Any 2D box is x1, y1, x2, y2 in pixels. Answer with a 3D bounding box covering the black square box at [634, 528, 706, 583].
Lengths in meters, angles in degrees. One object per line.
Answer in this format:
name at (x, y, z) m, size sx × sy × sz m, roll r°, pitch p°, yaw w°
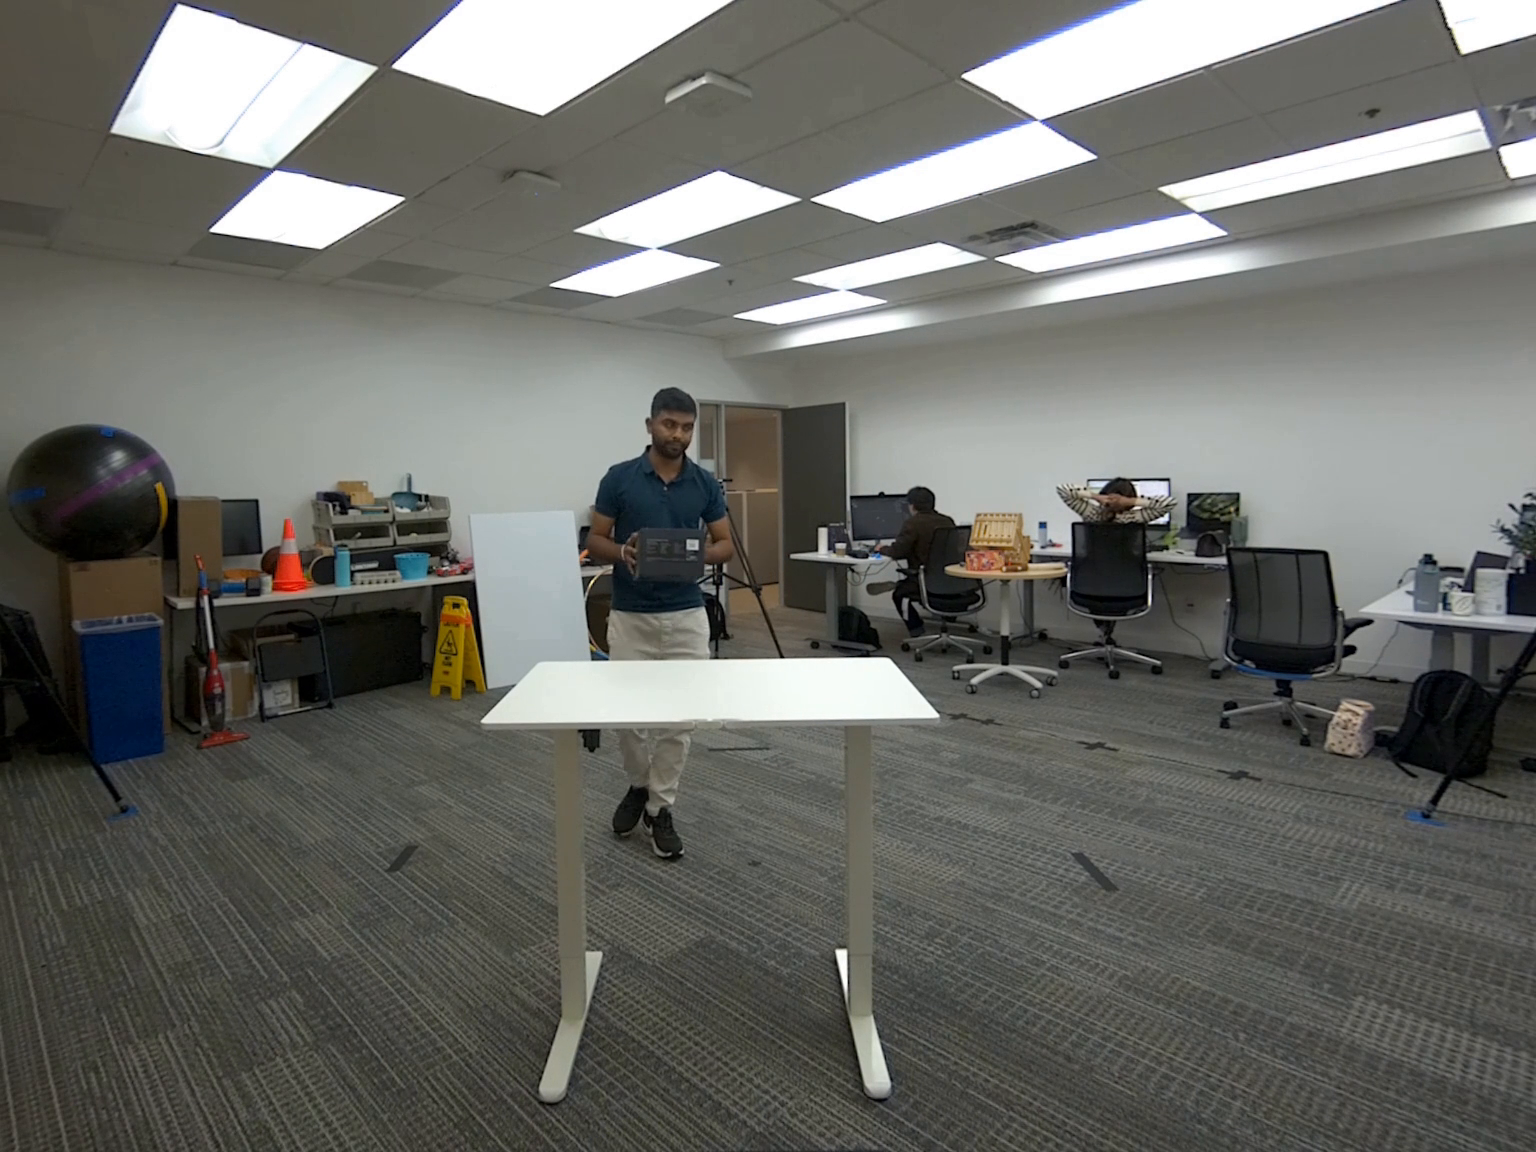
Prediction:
black square box at (-0.335, -0.076, 2.913) m, size 0.215 × 0.157 × 0.228 m, roll -1°, pitch -5°, yaw -7°
